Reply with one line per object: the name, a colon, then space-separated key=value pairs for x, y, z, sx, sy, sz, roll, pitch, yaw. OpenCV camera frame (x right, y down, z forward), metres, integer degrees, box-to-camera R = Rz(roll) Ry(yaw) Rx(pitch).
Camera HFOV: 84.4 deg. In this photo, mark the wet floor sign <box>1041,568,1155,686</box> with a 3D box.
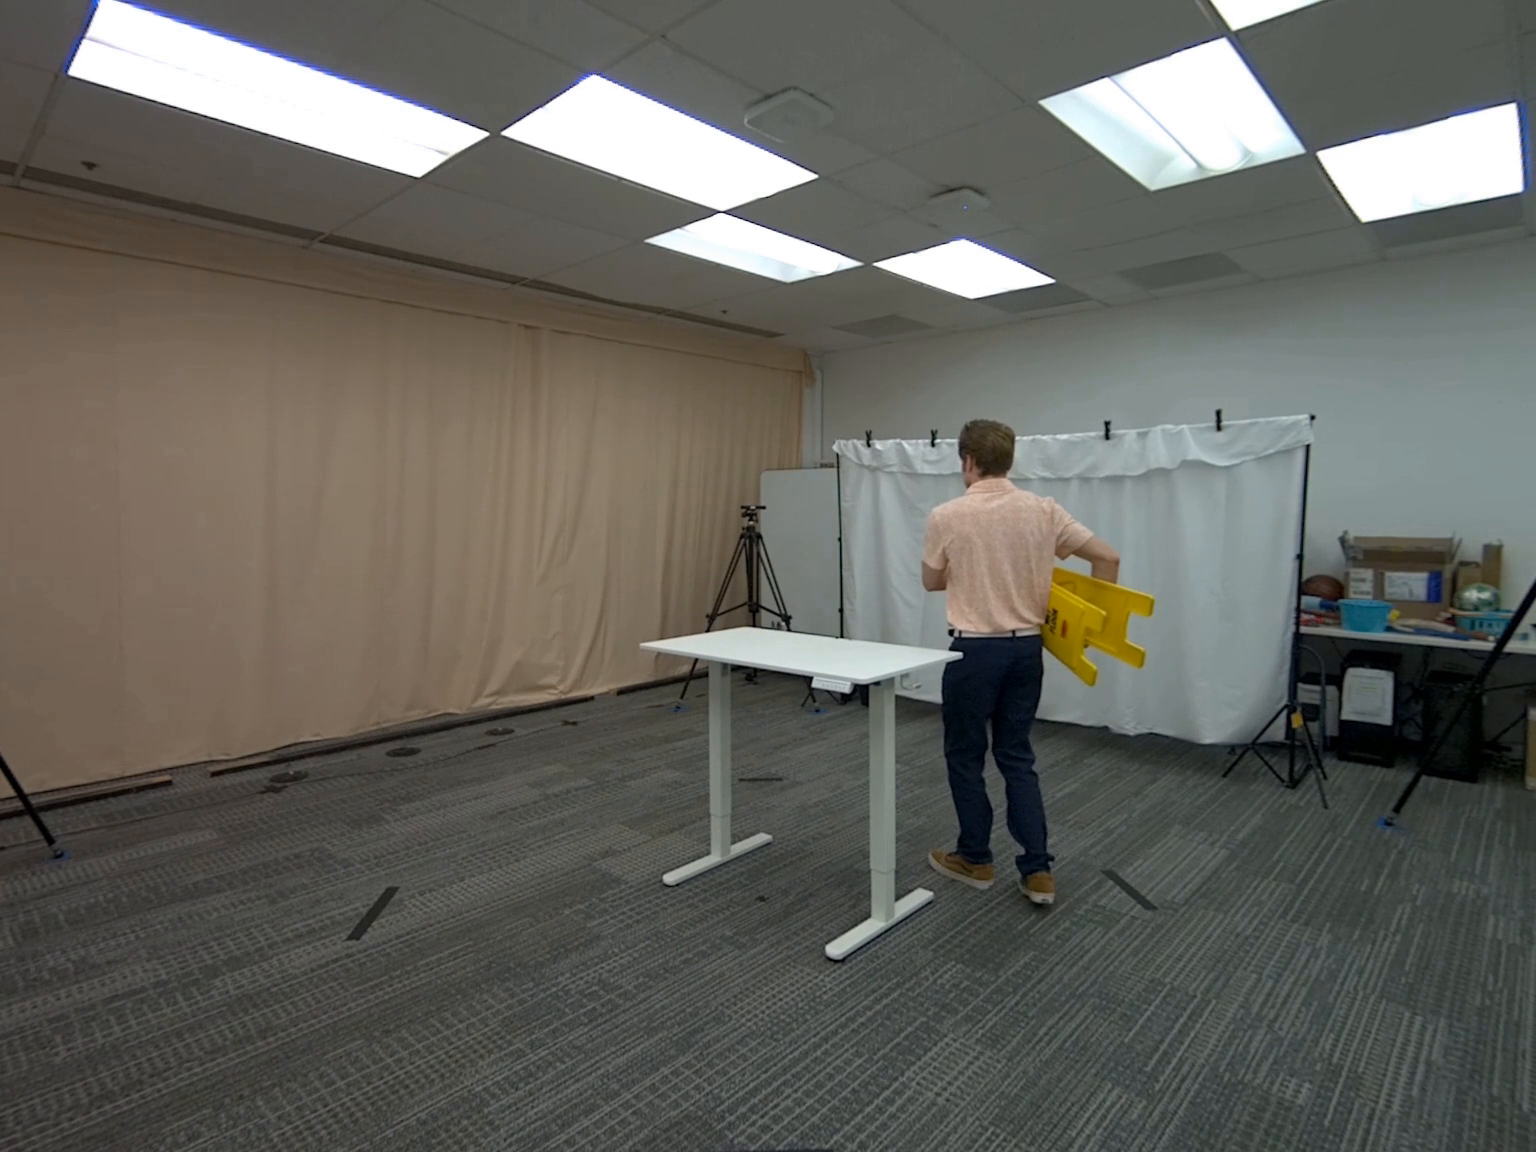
wet floor sign: x=1.043 y=0.112 z=3.064 sx=0.284 sy=0.278 sz=0.668 roll=-12 pitch=26 yaw=-22
